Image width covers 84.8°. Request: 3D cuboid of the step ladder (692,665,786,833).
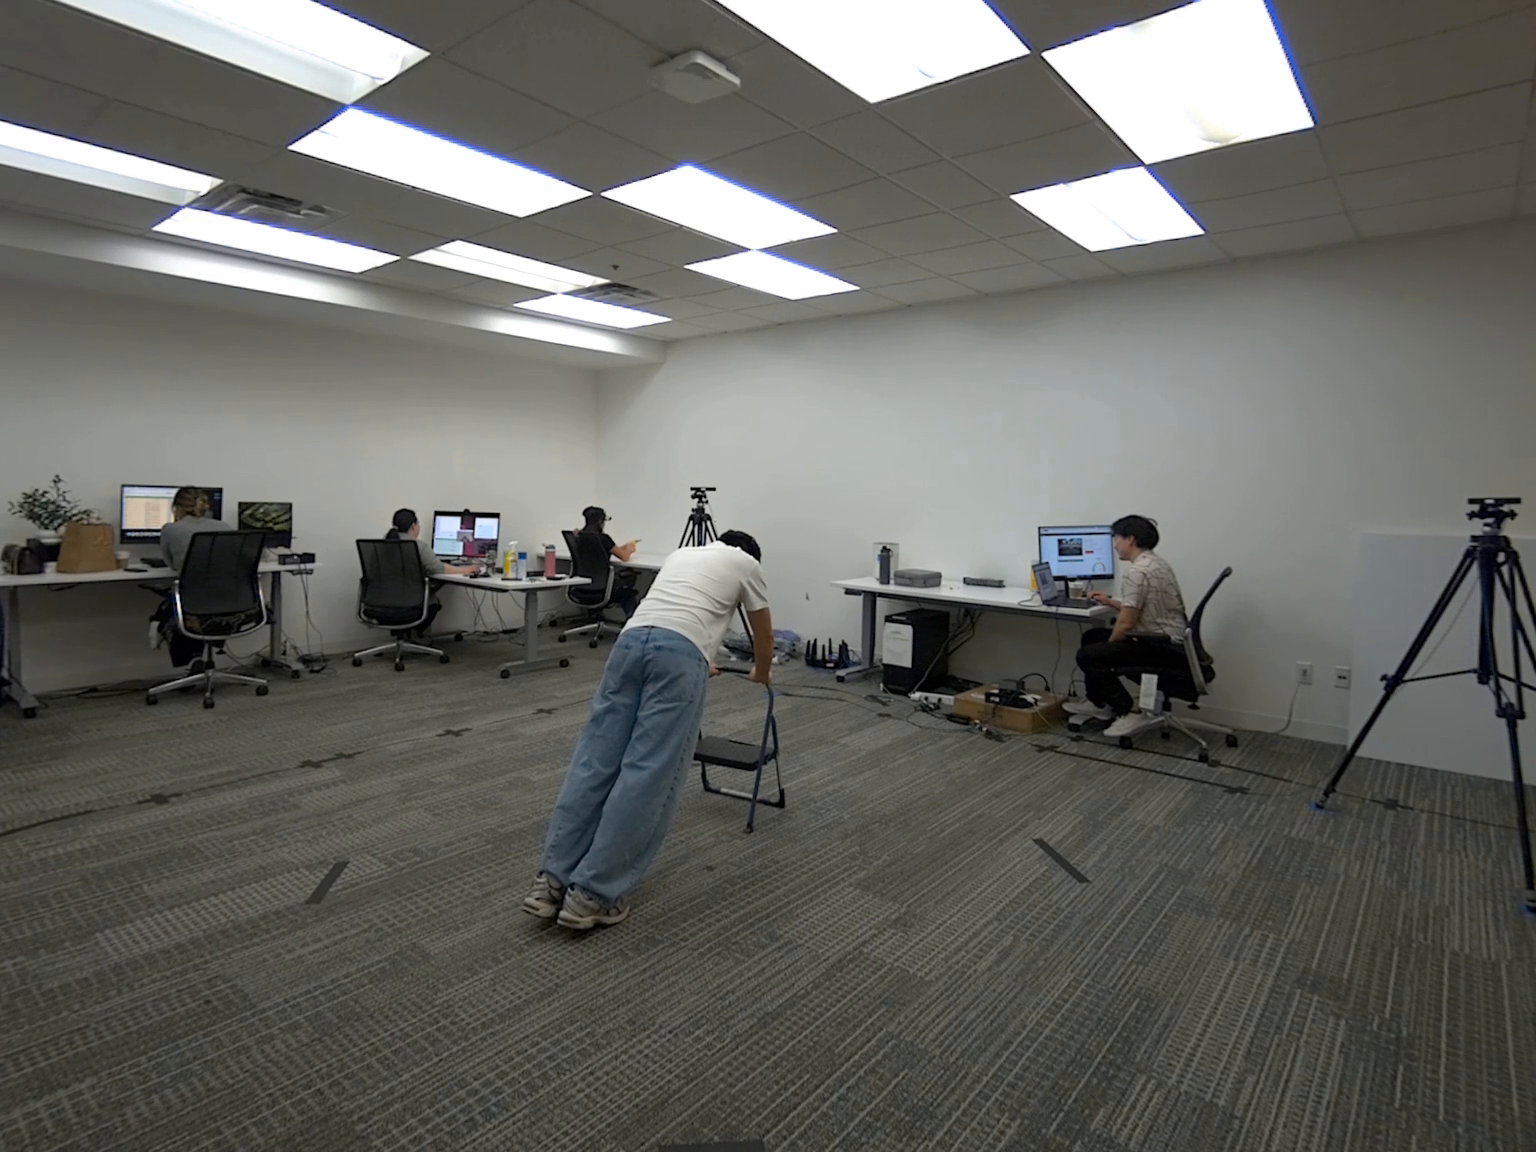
[{"bbox_3d":[-0.182,0.707,3.677,0.443,0.605,0.340,3,3,28],"label":"step ladder"}]
